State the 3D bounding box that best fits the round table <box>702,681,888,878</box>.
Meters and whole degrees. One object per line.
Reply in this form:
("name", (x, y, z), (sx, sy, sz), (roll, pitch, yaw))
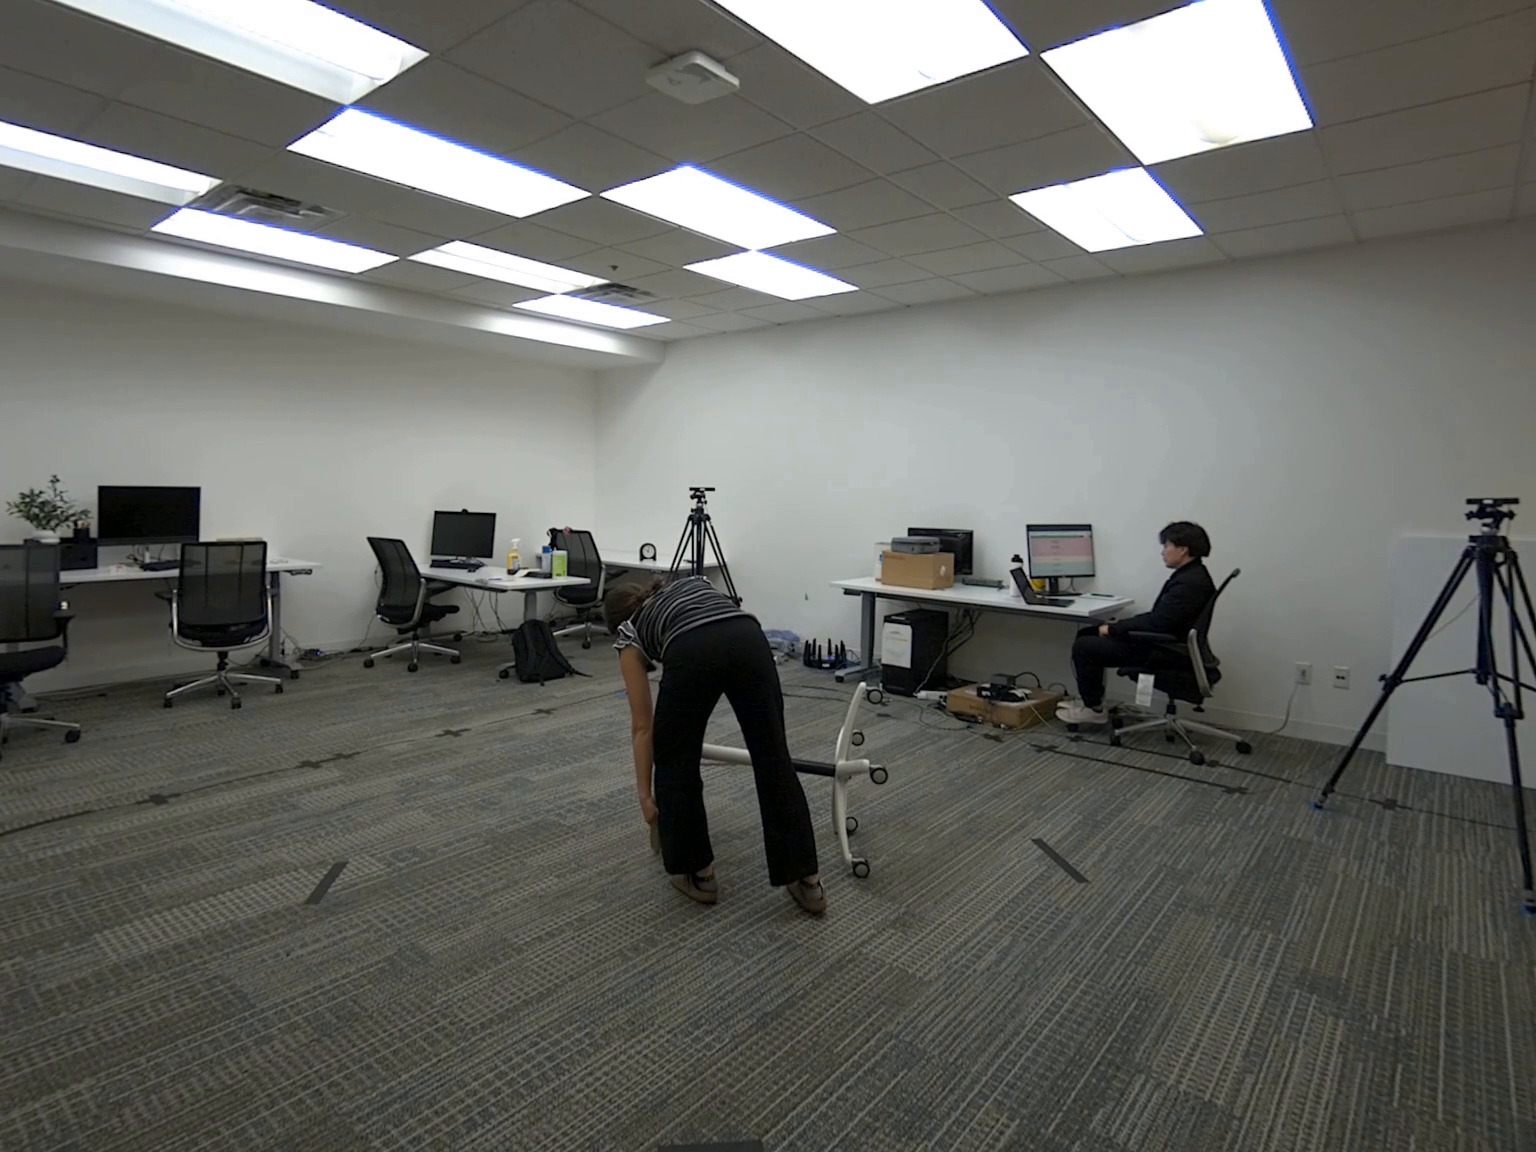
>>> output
("round table", (0.000, 0.716, 3.300), (0.796, 0.762, 0.764), (7, 4, 1))
